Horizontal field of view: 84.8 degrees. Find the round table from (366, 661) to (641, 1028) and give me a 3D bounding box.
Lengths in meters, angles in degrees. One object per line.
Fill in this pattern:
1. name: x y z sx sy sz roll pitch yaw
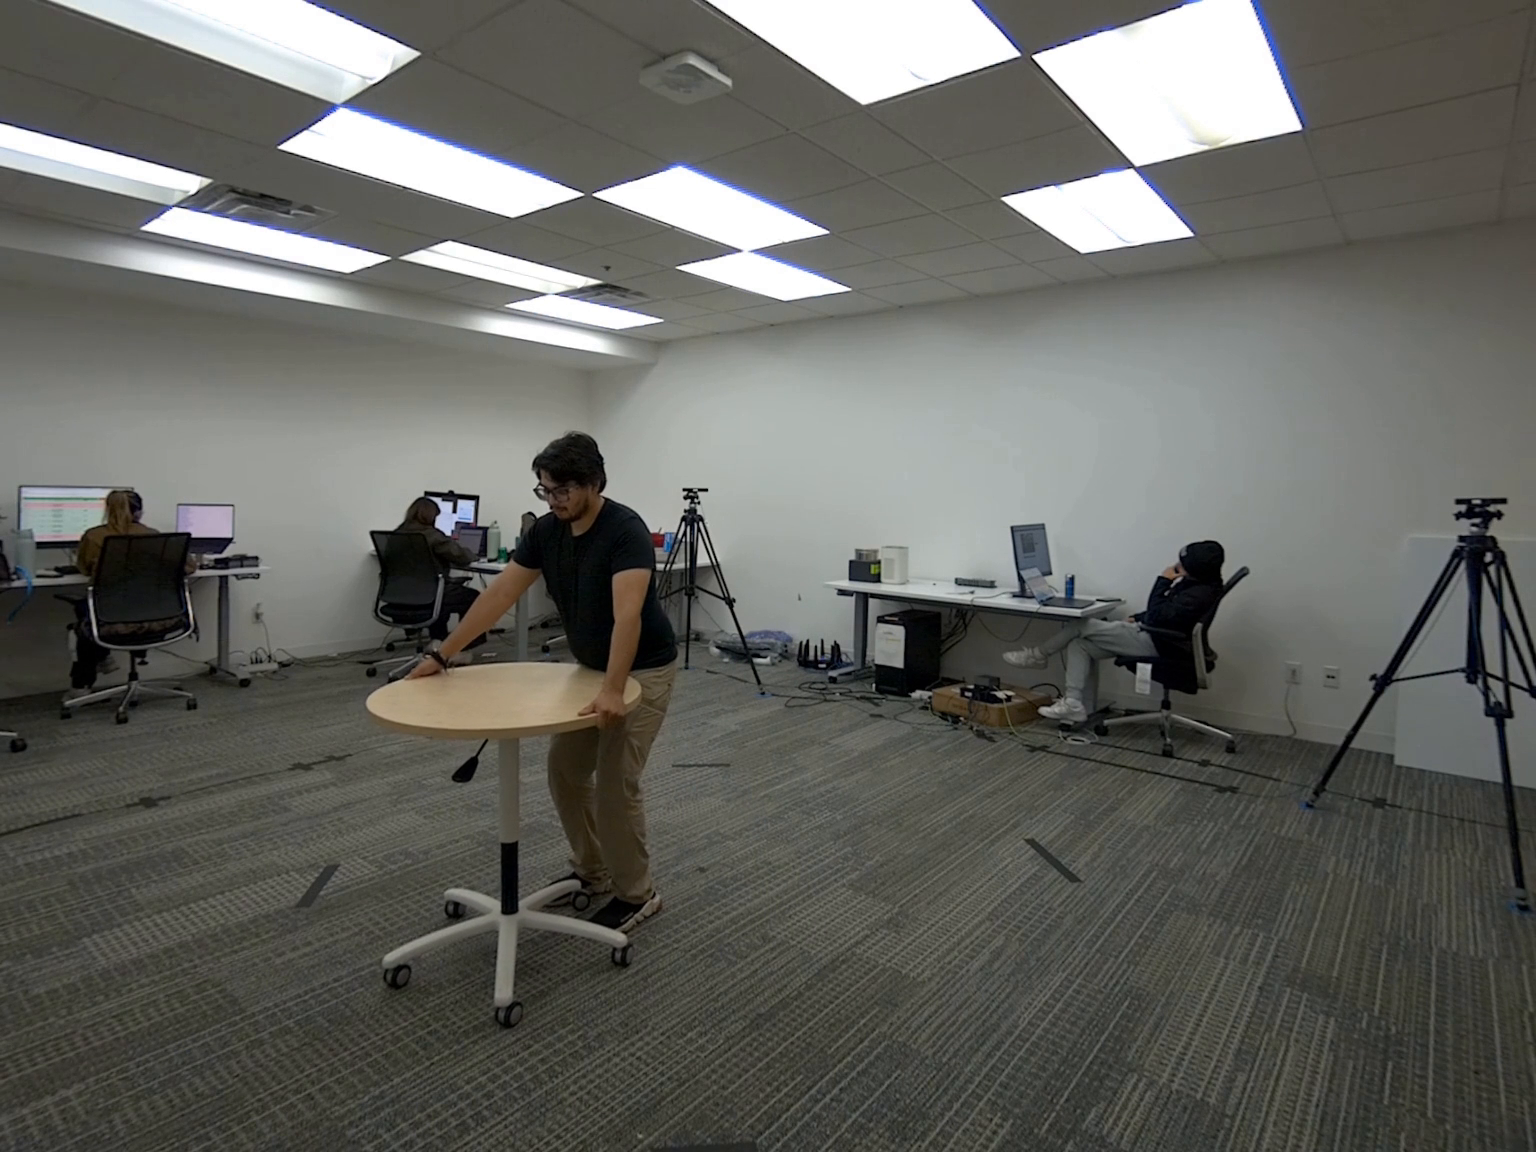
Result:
1. round table: -0.752 0.722 2.469 0.784 0.783 0.790 1 5 -2
